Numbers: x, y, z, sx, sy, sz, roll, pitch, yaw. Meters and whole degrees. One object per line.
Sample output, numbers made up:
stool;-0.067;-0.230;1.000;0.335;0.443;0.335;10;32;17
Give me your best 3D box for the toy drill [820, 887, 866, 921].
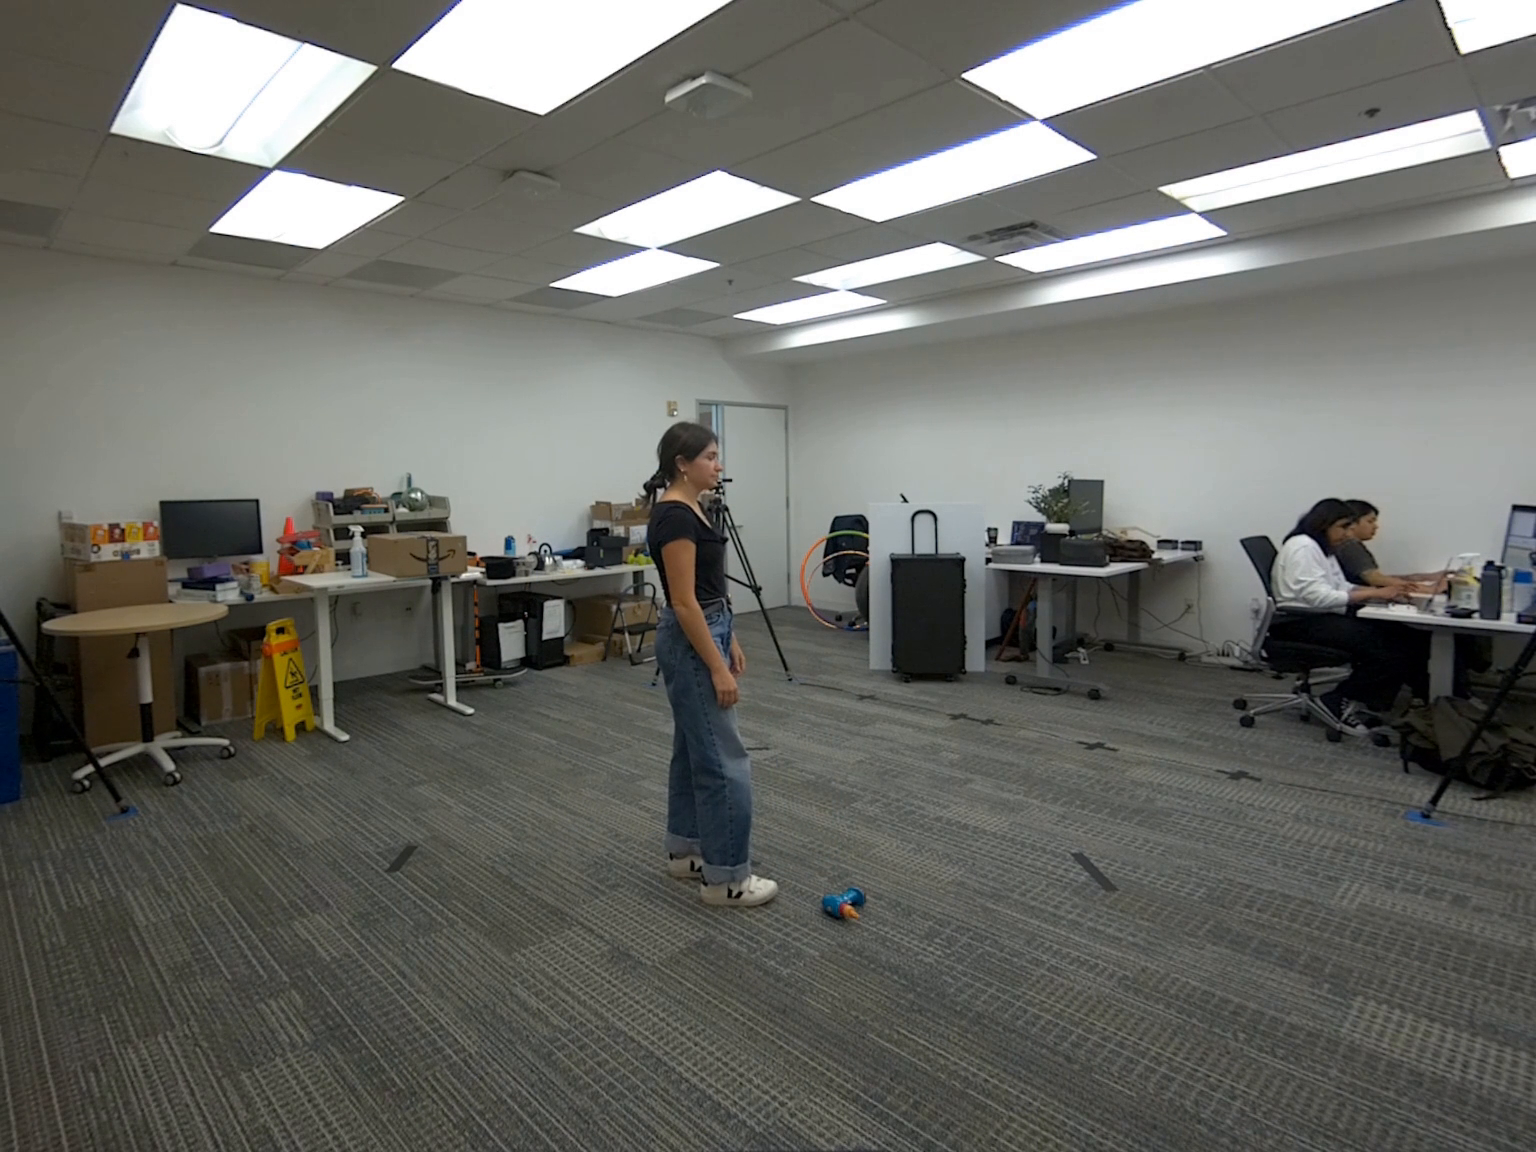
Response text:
toy drill;0.262;1.048;2.726;0.142;0.061;0.174;-4;0;-33
